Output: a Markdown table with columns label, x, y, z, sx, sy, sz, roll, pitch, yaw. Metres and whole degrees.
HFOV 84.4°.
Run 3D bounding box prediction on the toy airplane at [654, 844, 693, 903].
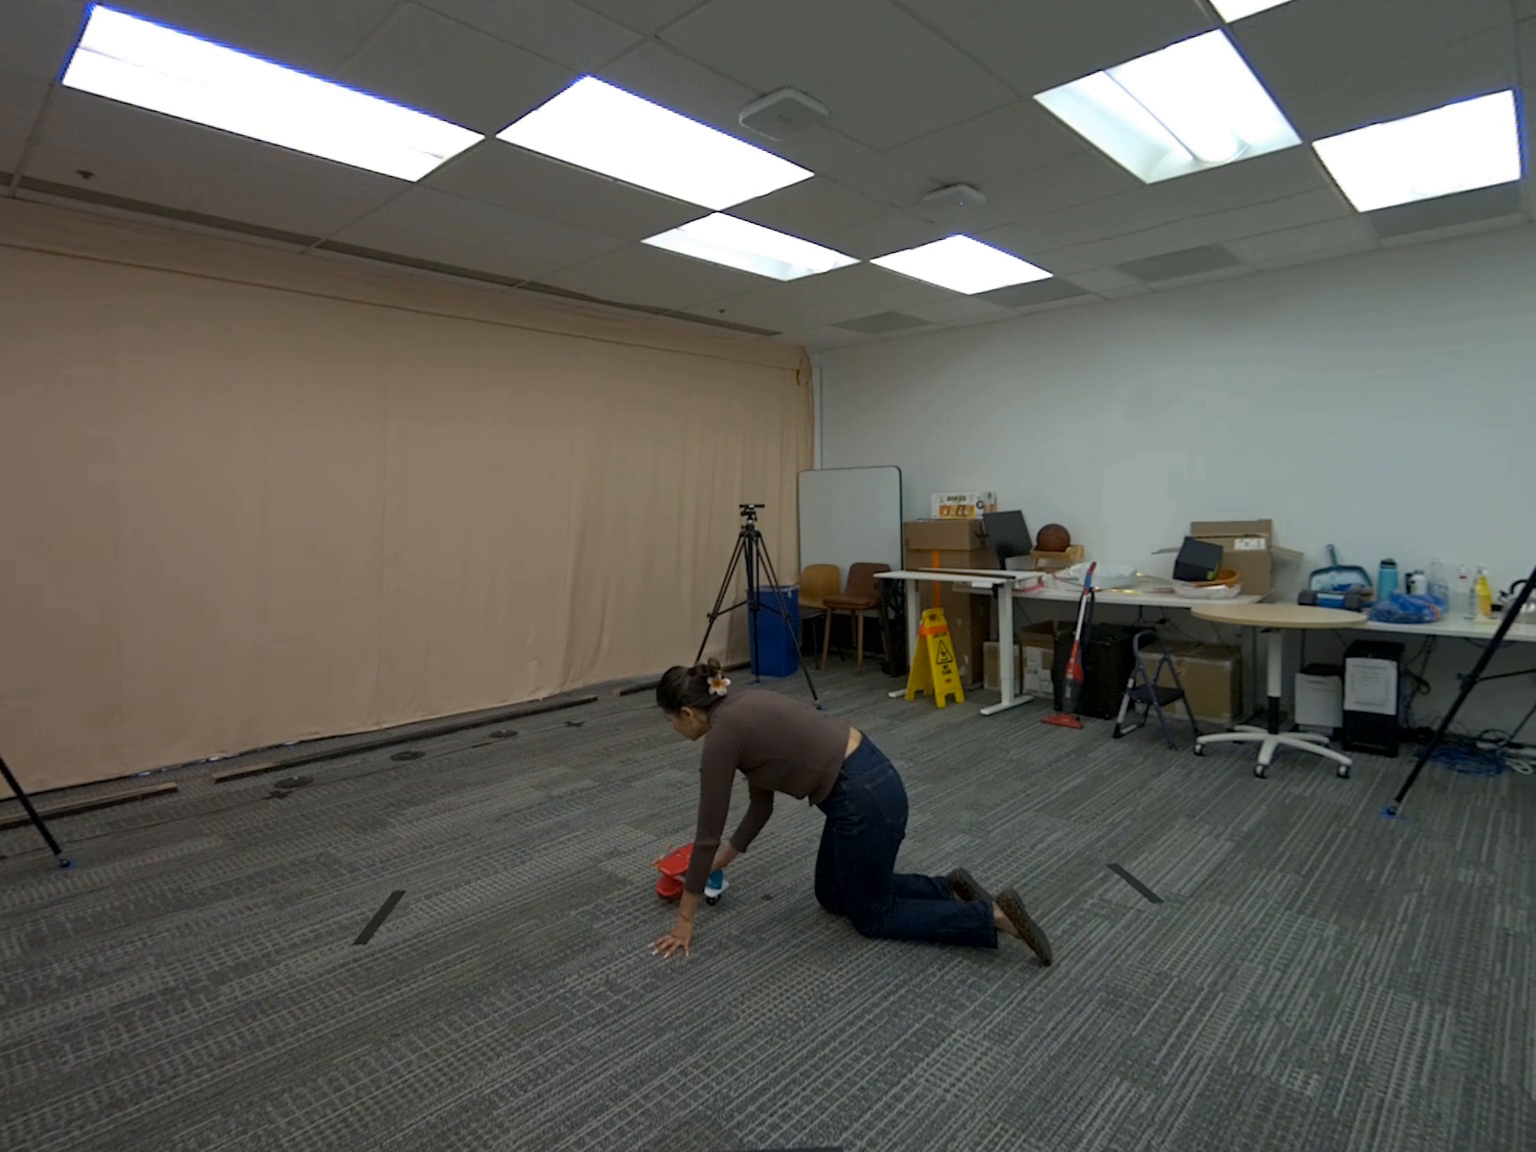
| label | x | y | z | sx | sy | sz | roll | pitch | yaw |
| --- | --- | --- | --- | --- | --- | --- | --- | --- | --- |
| toy airplane | -0.269 | 1.068 | 3.010 | 0.259 | 0.156 | 0.252 | -3 | 5 | -1 |
